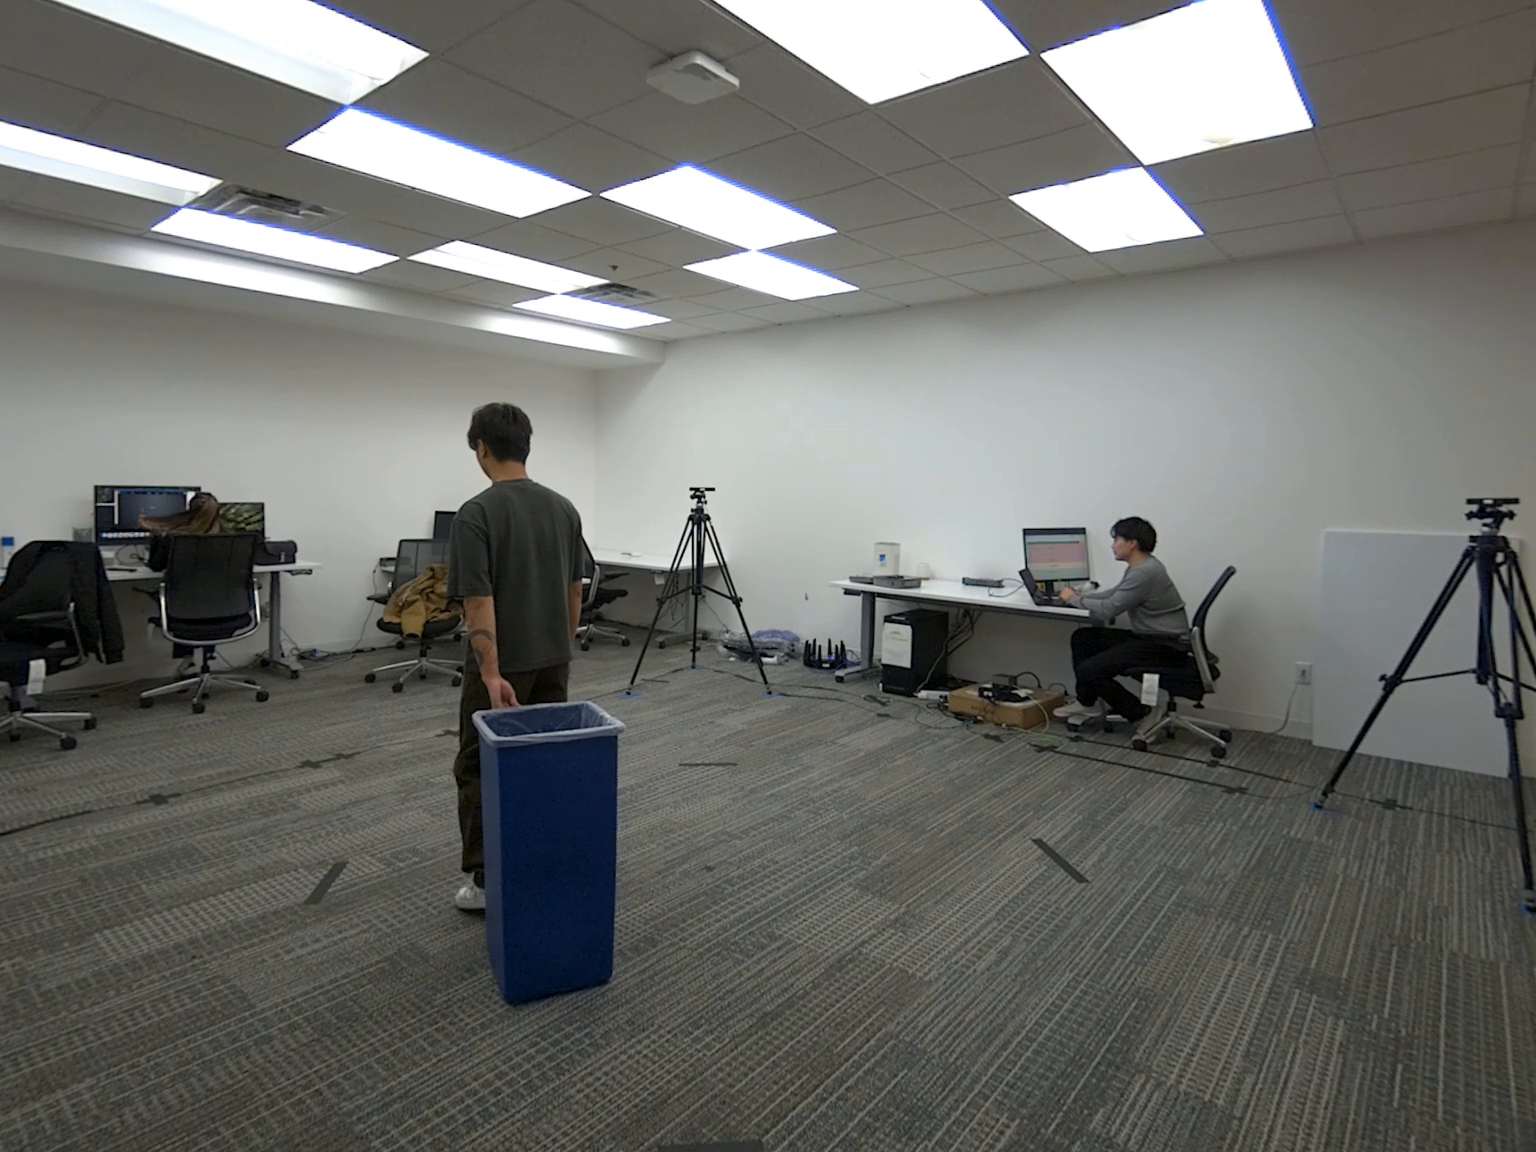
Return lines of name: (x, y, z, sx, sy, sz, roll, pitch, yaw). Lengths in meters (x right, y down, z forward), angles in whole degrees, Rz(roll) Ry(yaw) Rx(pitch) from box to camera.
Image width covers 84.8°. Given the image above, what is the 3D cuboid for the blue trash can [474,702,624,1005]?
blue trash can: (-0.649, 0.764, 2.441, 0.365, 0.713, 0.388, 0, 1, -26)
